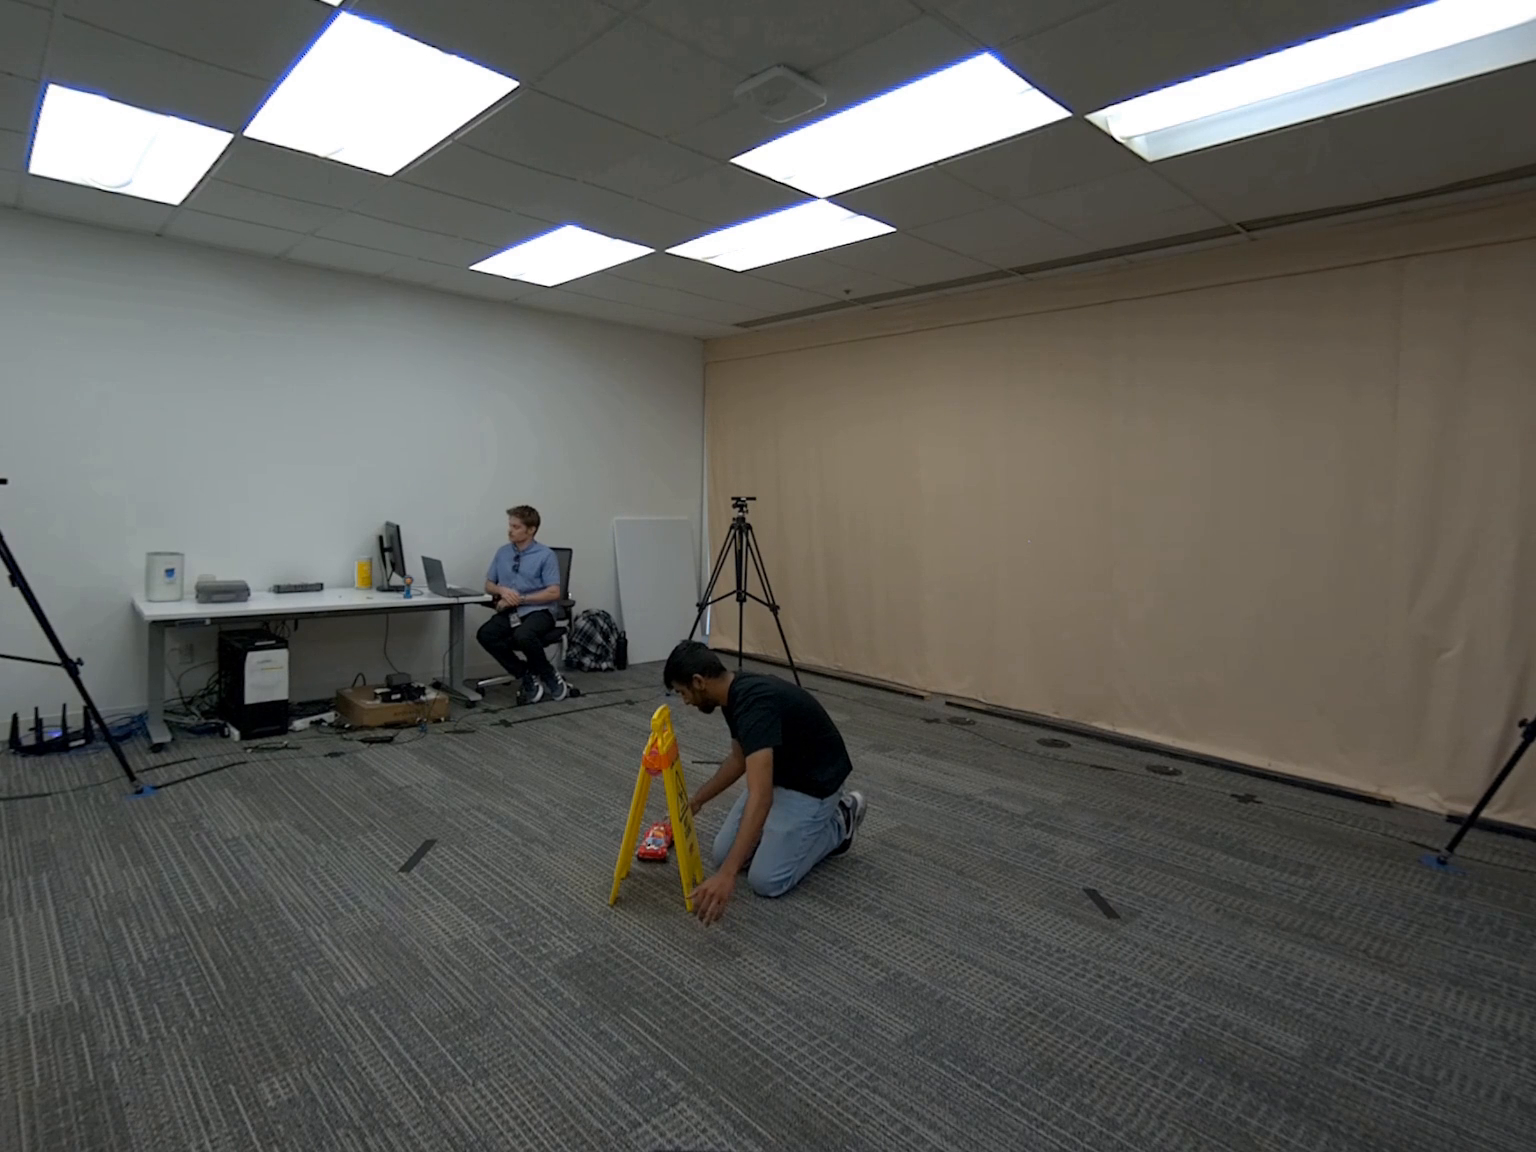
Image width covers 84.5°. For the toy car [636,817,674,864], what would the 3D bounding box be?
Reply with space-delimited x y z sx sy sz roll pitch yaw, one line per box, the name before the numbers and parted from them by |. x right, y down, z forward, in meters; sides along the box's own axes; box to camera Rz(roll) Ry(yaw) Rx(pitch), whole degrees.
toy car | -0.438 1.041 3.309 0.131 0.082 0.256 1 15 3
